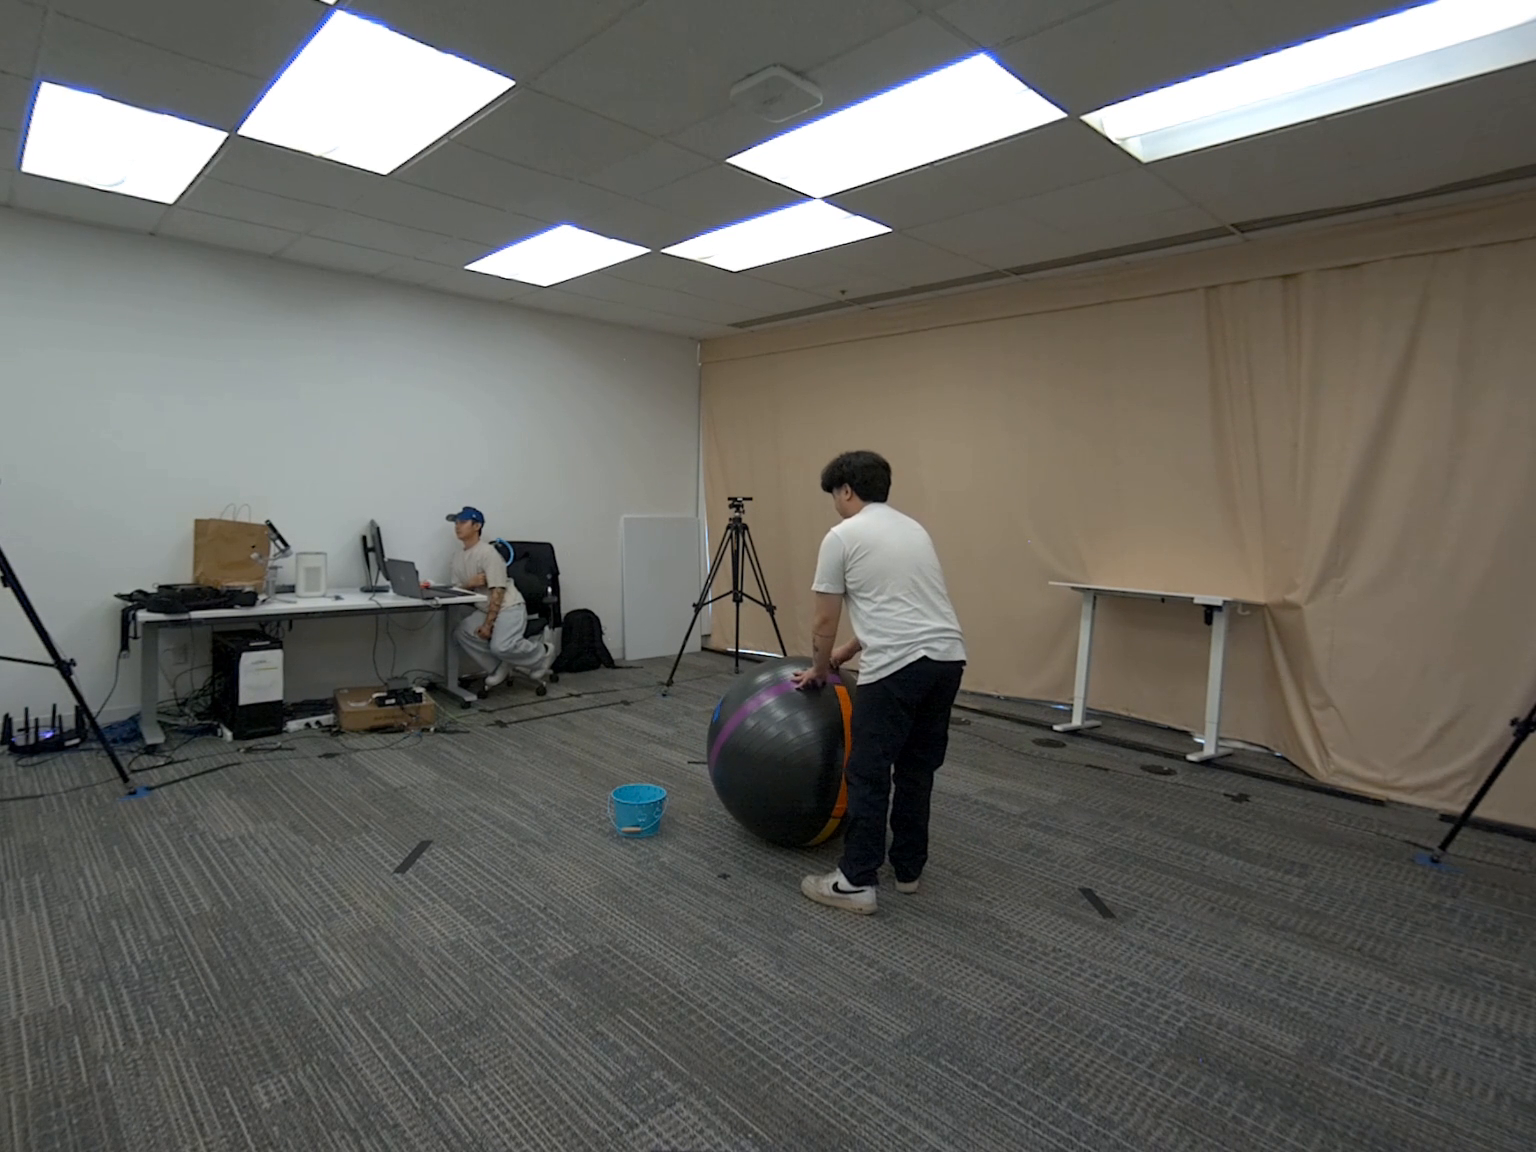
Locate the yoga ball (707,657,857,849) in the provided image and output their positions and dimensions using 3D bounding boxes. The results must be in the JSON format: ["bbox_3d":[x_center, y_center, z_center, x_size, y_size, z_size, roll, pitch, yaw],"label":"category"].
[{"bbox_3d":[0.121,0.719,3.489,0.757,0.756,0.761,1,4,-1],"label":"yoga ball"}]
